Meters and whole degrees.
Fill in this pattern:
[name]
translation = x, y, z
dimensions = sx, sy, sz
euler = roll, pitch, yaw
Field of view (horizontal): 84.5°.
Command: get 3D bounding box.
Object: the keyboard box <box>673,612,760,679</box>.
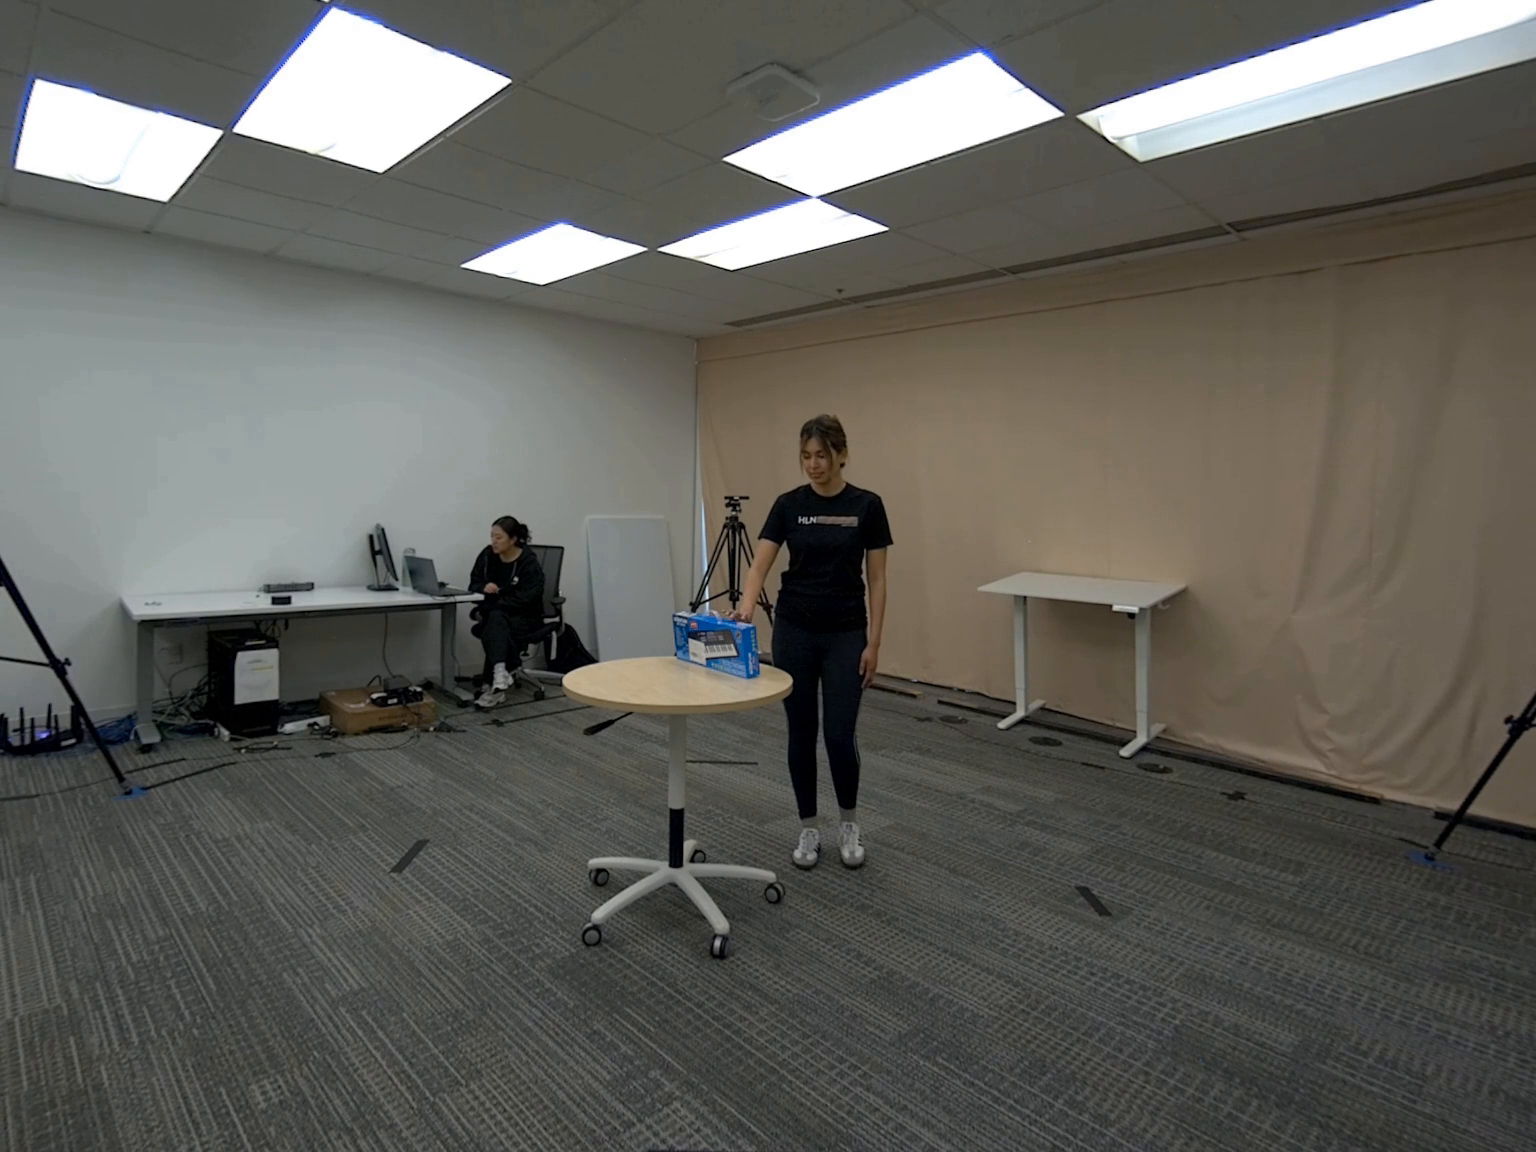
[keyboard box]
translation = -0.198, 0.241, 2.987
dimensions = 0.058, 0.175, 0.448
euler = -10, 10, -37
